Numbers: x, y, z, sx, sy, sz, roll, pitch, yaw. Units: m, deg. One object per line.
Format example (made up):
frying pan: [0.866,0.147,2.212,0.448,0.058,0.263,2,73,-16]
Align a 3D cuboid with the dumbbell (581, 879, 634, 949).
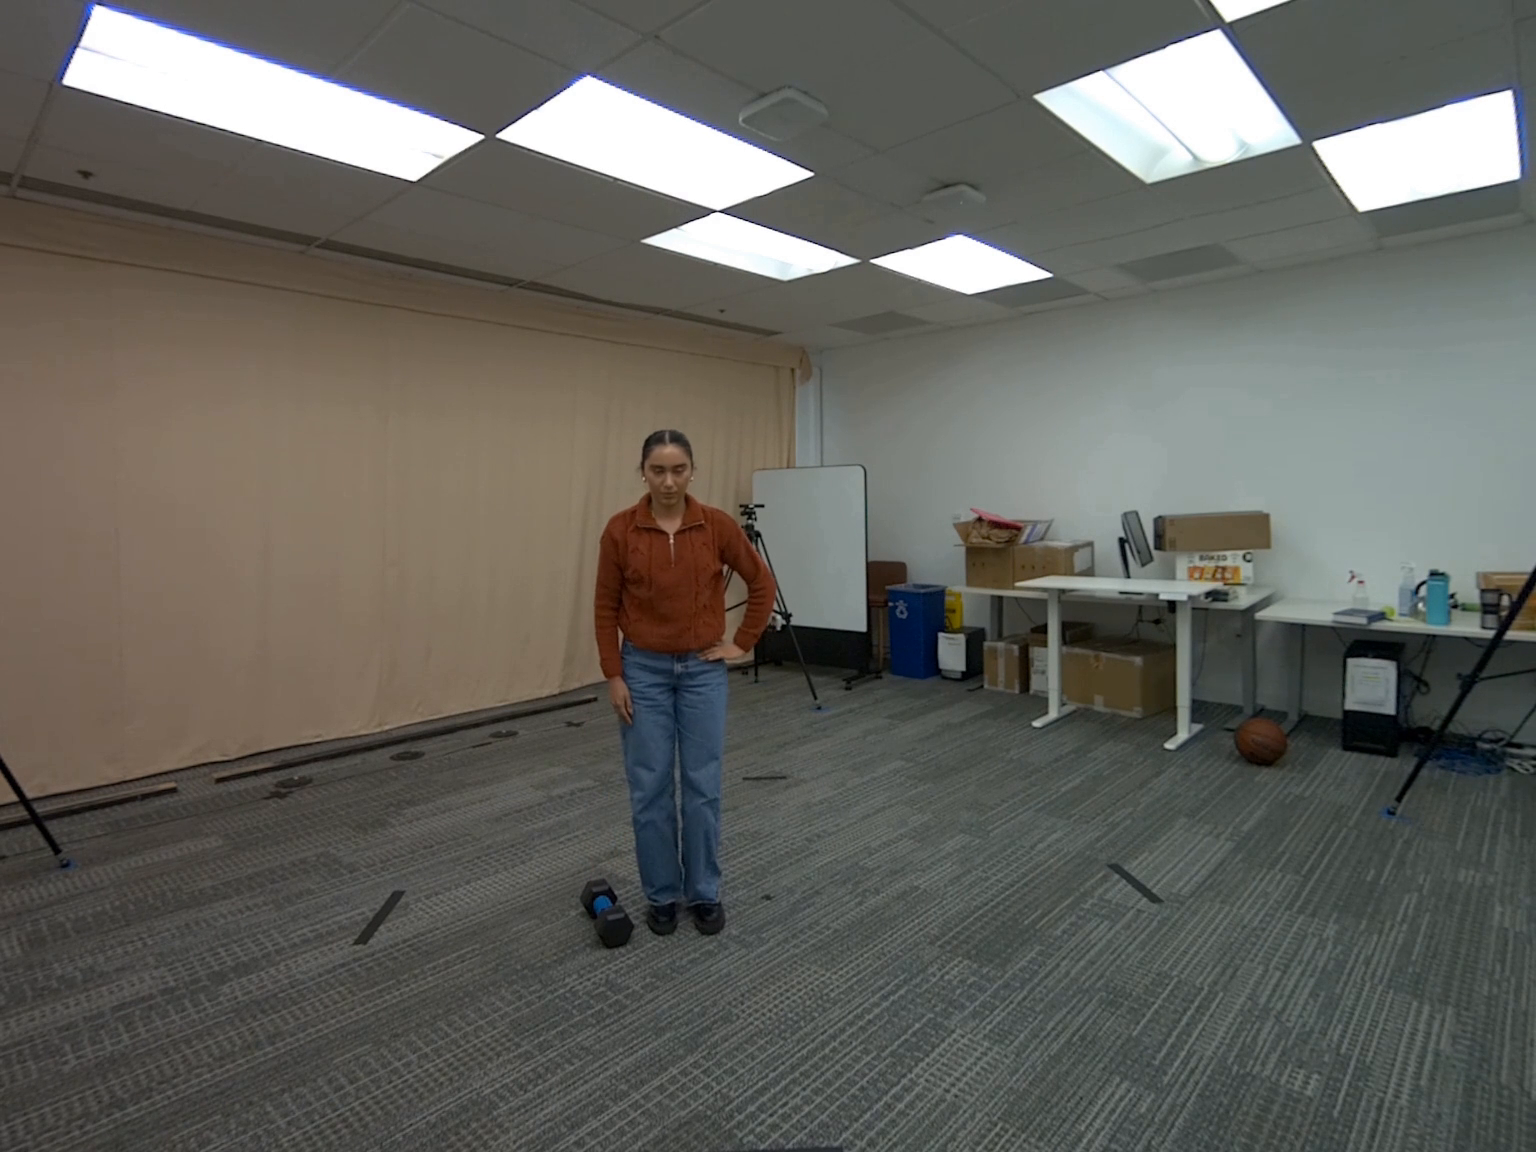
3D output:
dumbbell: [-0.541,1.120,2.787,0.106,0.123,0.301,30,-7,-23]
